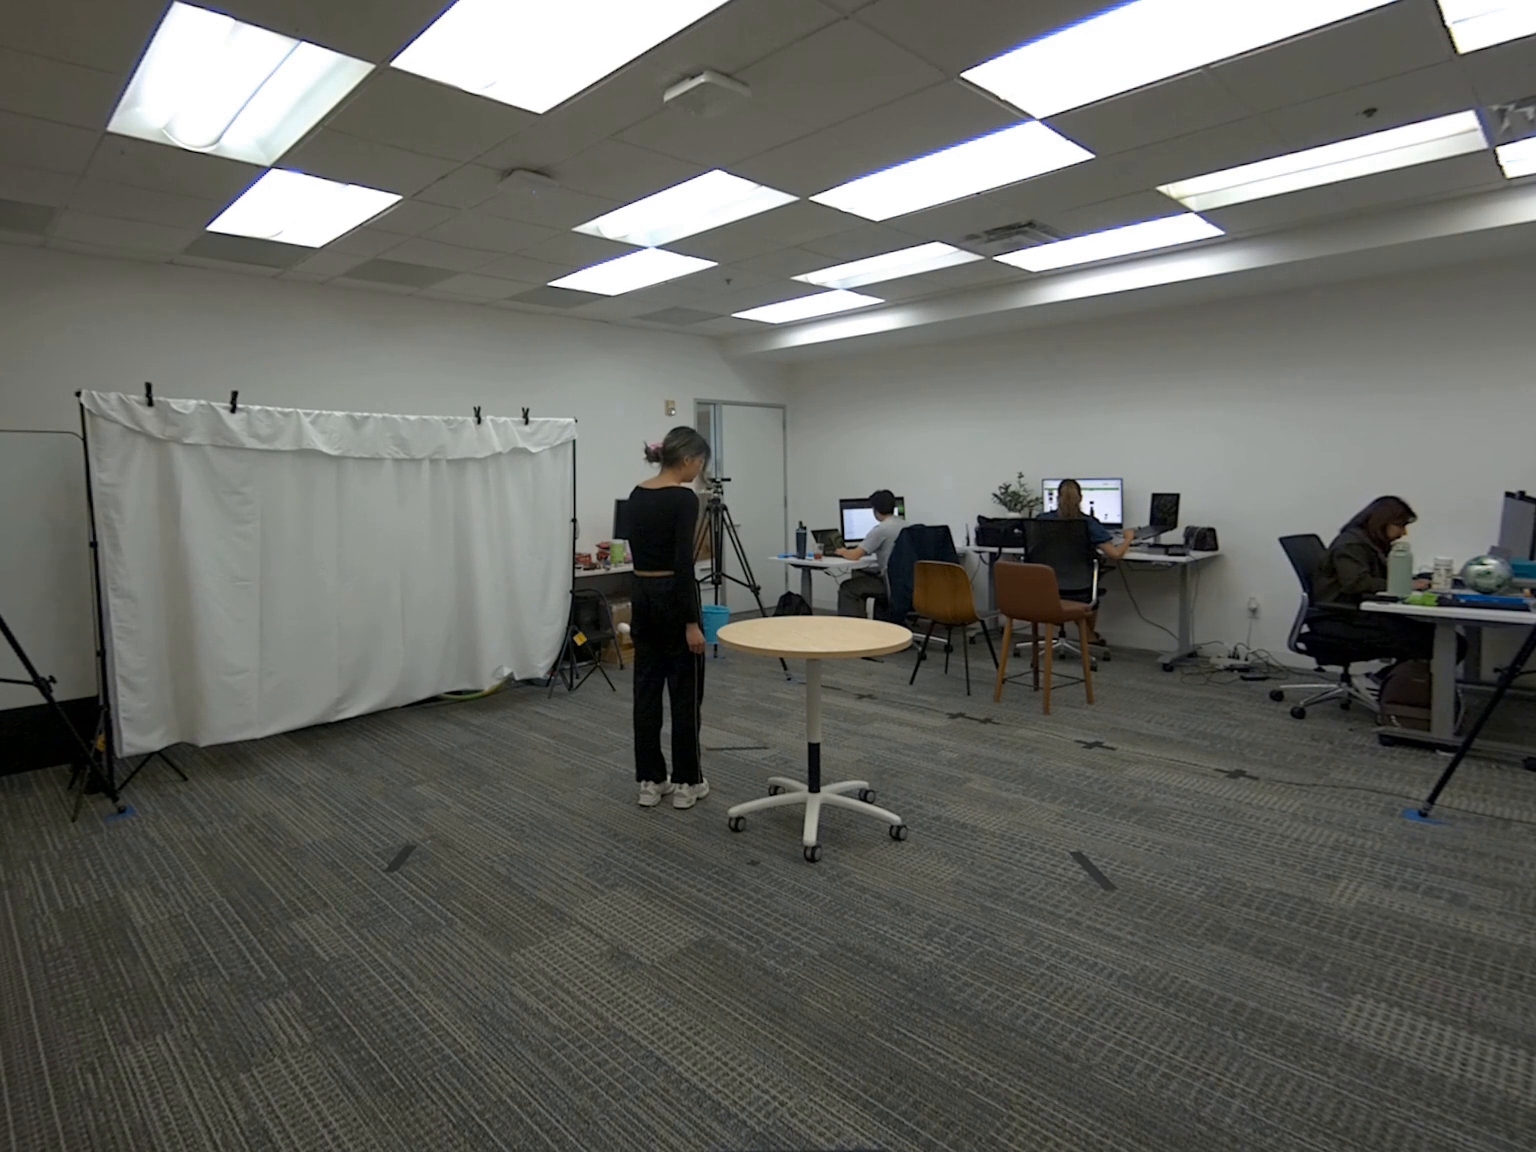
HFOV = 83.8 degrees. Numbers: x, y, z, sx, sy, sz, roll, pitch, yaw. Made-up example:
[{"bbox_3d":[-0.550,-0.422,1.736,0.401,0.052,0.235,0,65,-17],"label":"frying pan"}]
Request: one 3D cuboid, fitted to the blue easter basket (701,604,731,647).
[{"bbox_3d":[-0.305,0.227,3.966,0.243,0.155,0.244,1,4,-2],"label":"blue easter basket"}]
